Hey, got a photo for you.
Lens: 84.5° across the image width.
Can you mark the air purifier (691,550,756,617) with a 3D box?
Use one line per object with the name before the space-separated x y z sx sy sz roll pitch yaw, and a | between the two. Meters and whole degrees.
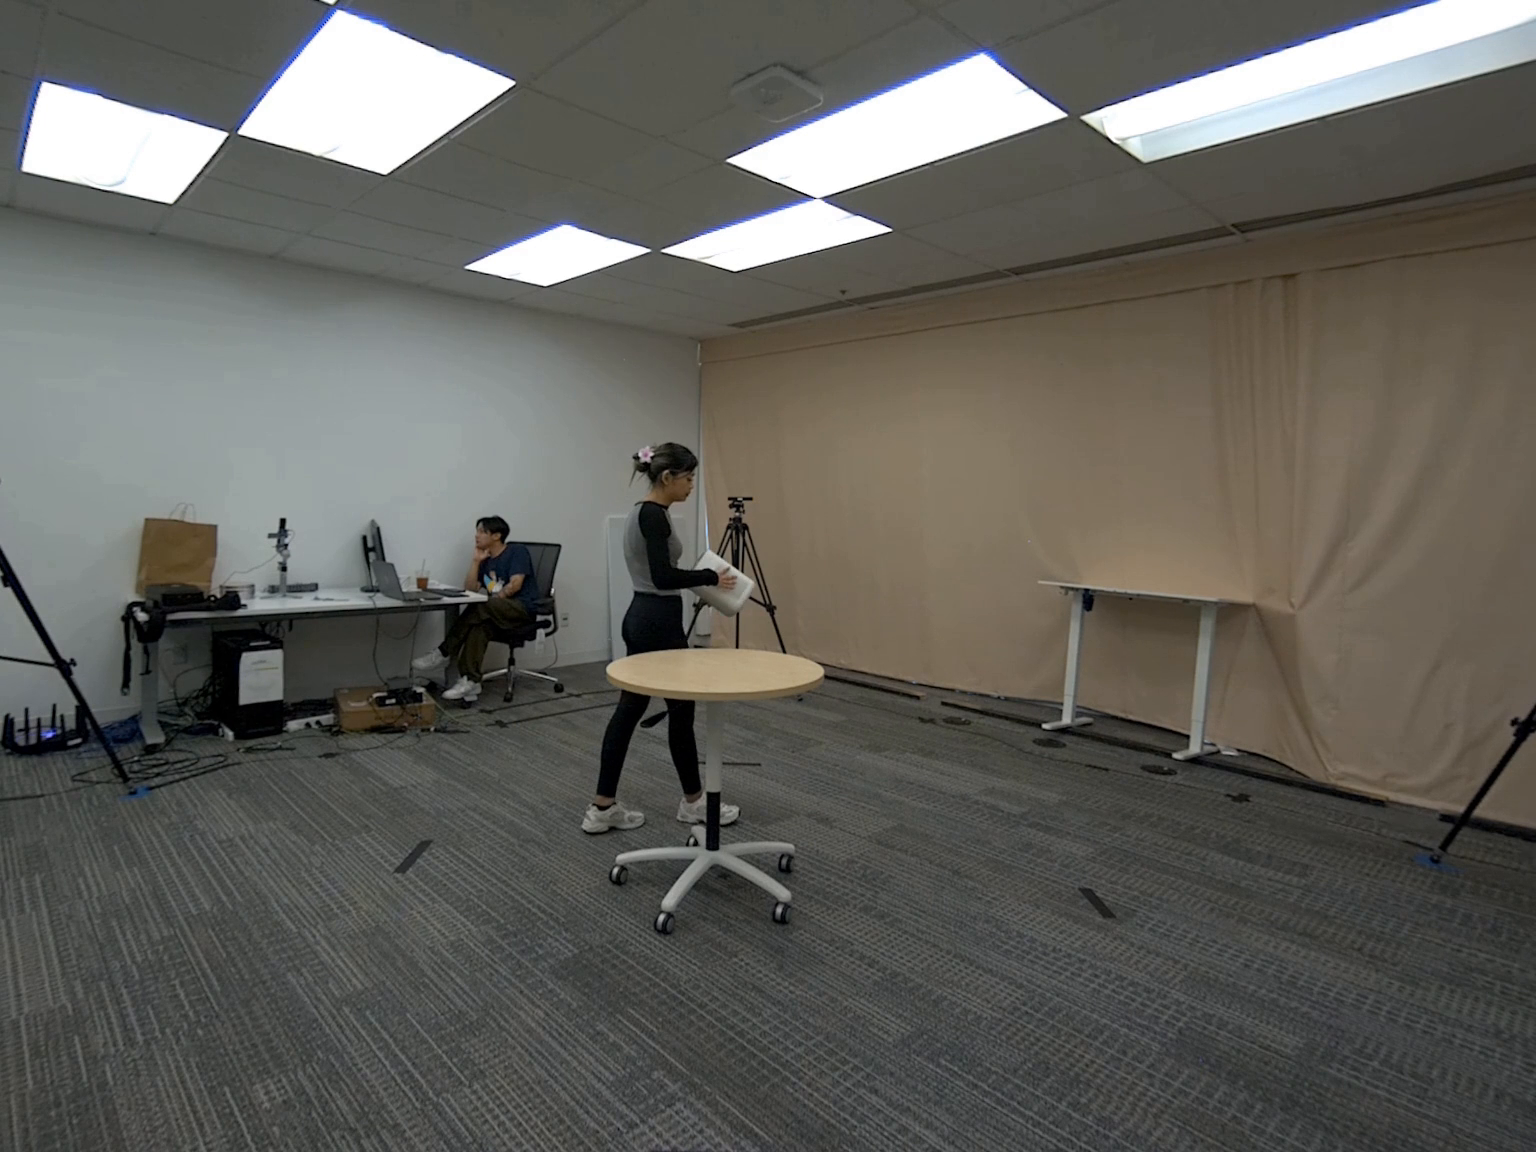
air purifier | -0.216 0.032 3.593 0.264 0.172 0.171 35 -23 -5
